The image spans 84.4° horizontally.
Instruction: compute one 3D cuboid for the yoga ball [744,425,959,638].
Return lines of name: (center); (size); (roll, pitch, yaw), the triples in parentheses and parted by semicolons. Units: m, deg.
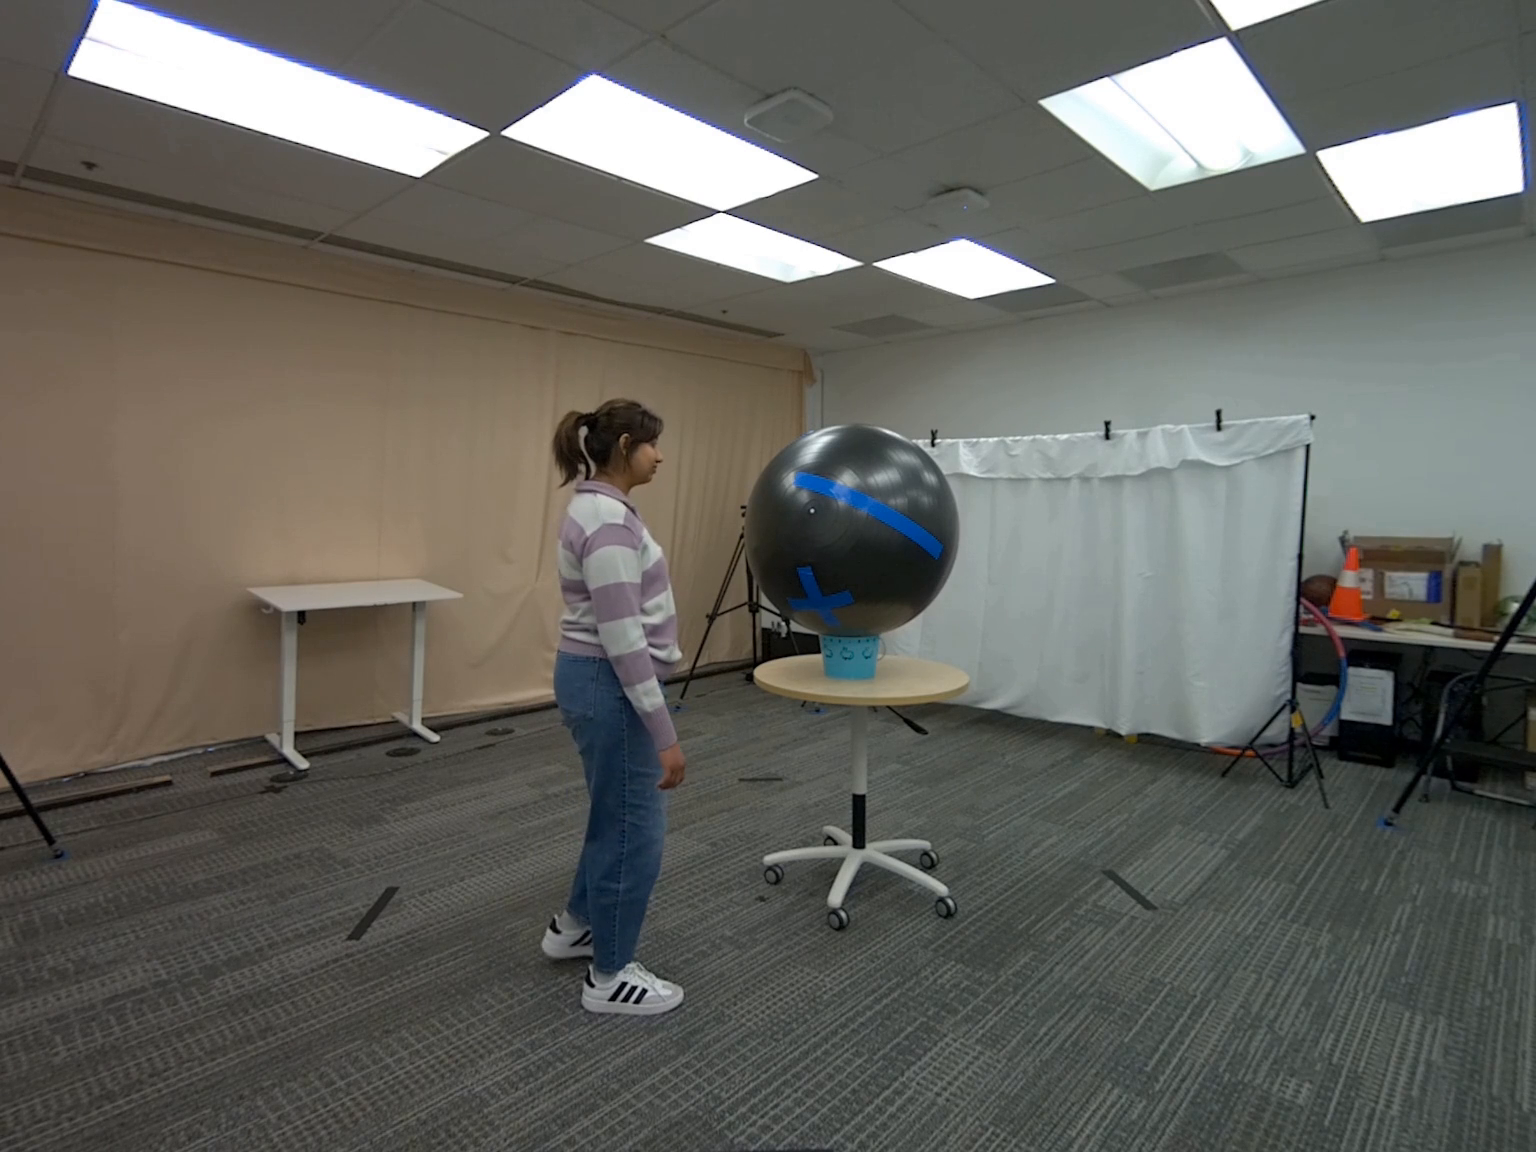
yoga ball: (0.296, -0.154, 3.011); (0.757, 0.756, 0.760); (0, 4, -2)
